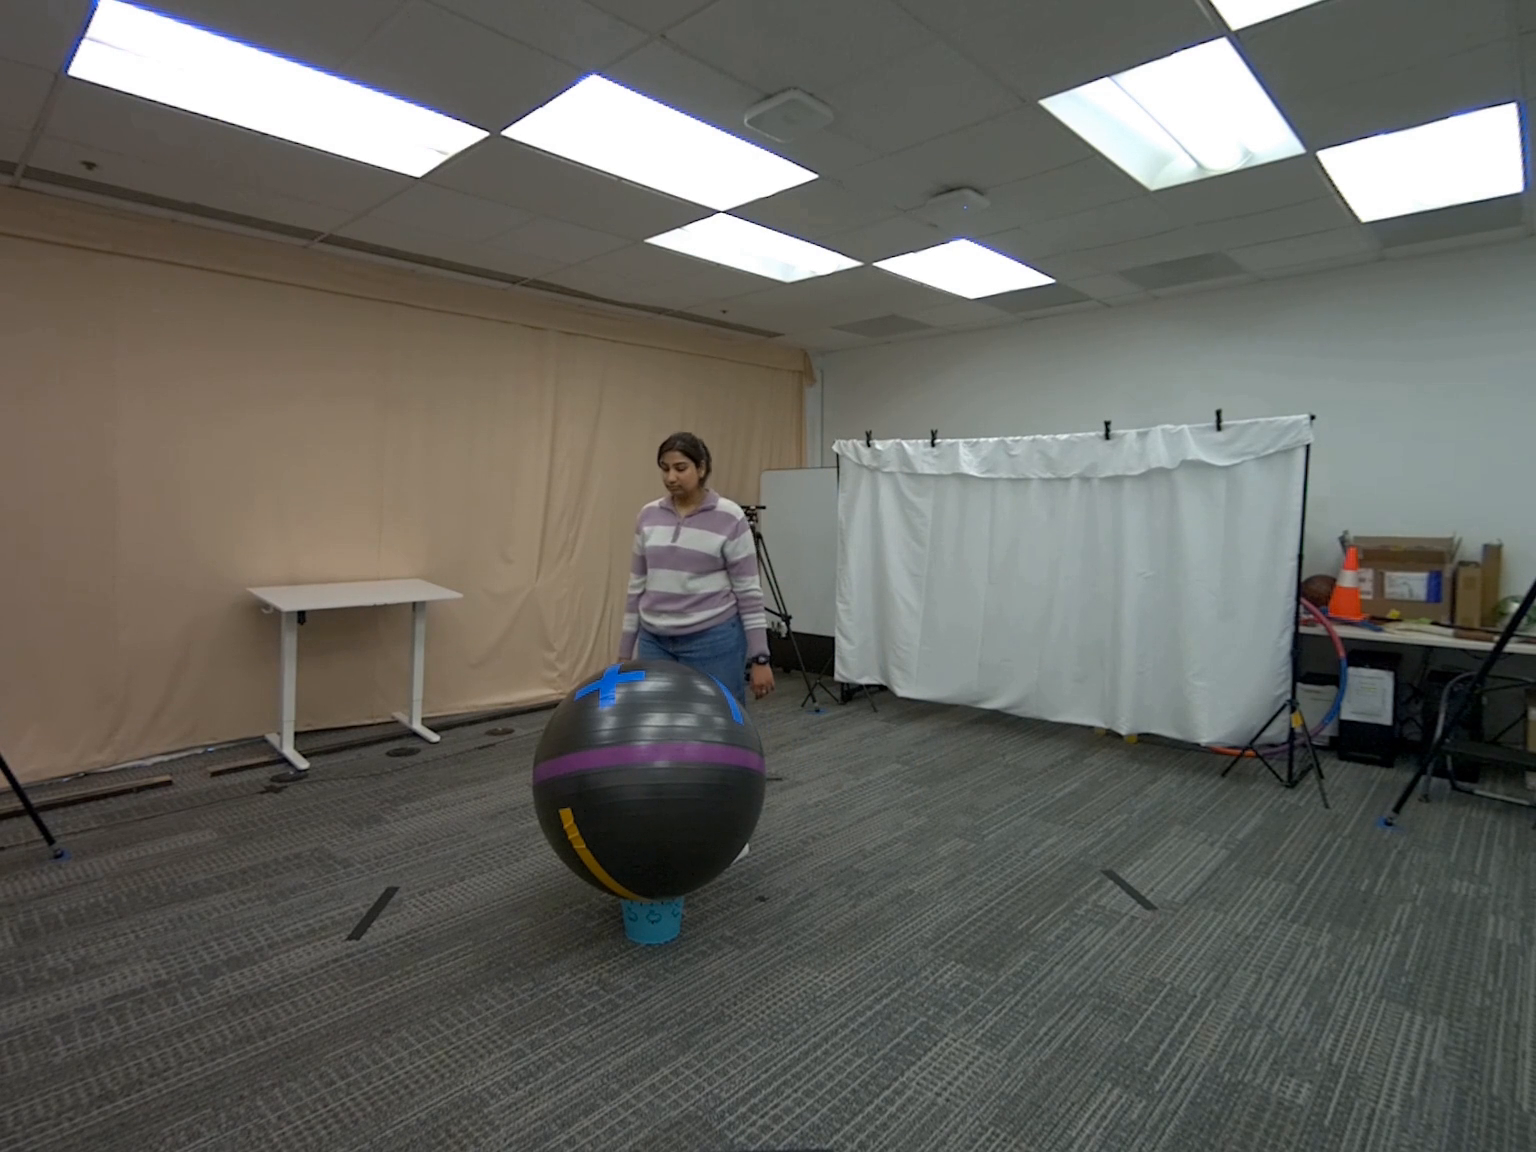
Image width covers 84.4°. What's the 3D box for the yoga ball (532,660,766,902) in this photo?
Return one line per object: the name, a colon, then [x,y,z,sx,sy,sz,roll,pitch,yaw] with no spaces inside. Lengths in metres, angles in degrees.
yoga ball: [-0.402,0.654,2.760,0.757,0.756,0.760,0,4,-2]
